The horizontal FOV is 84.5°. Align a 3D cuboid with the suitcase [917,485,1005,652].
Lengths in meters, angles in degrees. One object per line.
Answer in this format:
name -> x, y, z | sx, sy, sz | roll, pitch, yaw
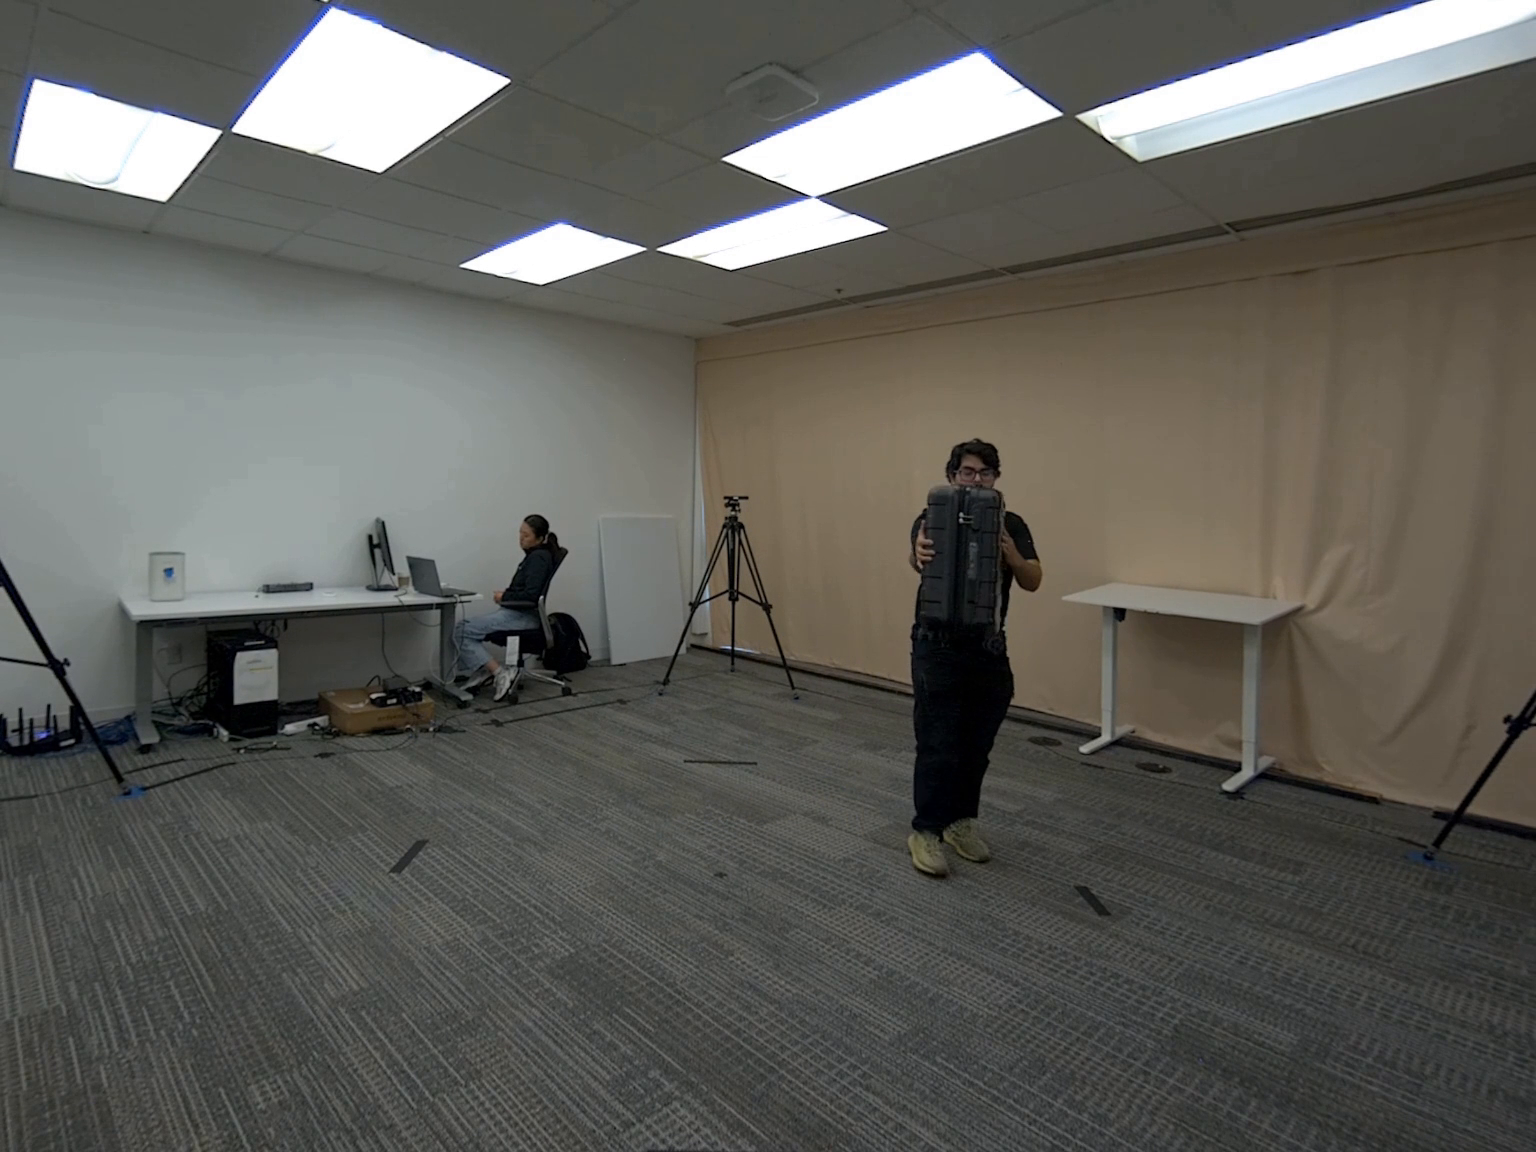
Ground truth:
suitcase -> 0.670, -0.036, 2.881 | 0.253, 0.550, 0.368 | 2, -1, 22
